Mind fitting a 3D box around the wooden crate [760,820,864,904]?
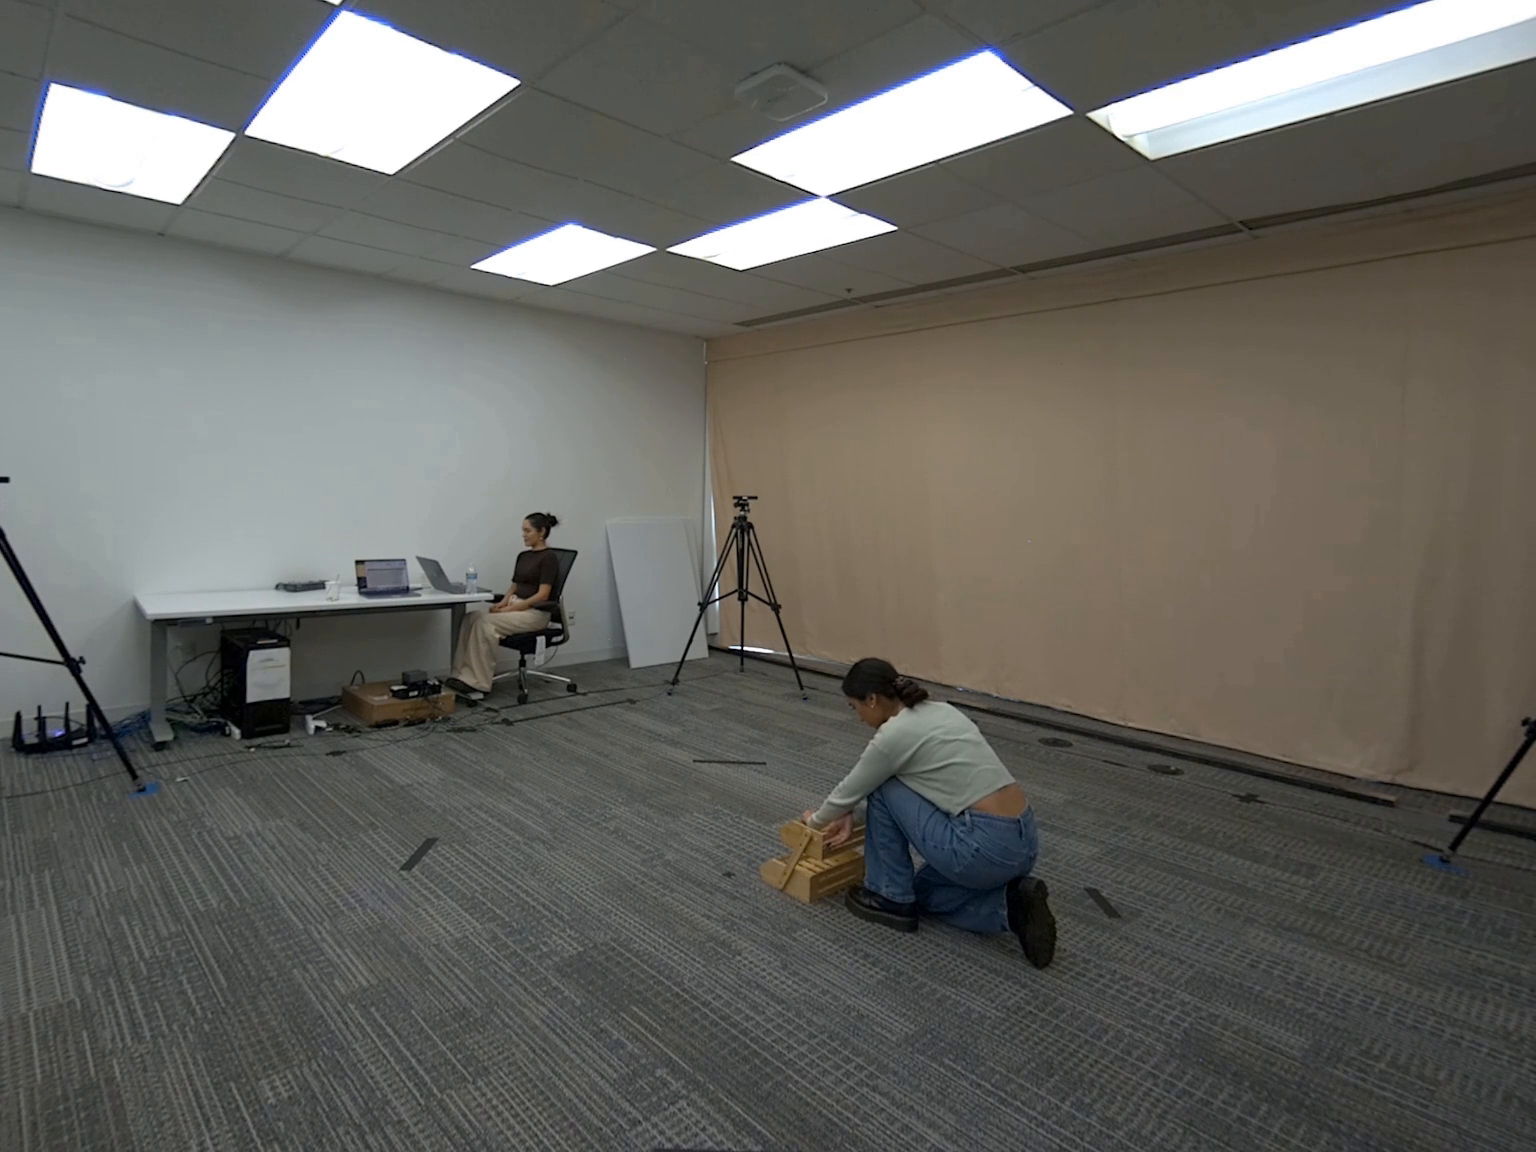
[{"bbox_3d":[0.173,0.976,3.060,0.317,0.272,0.310,-4,7,-44],"label":"wooden crate"}]
